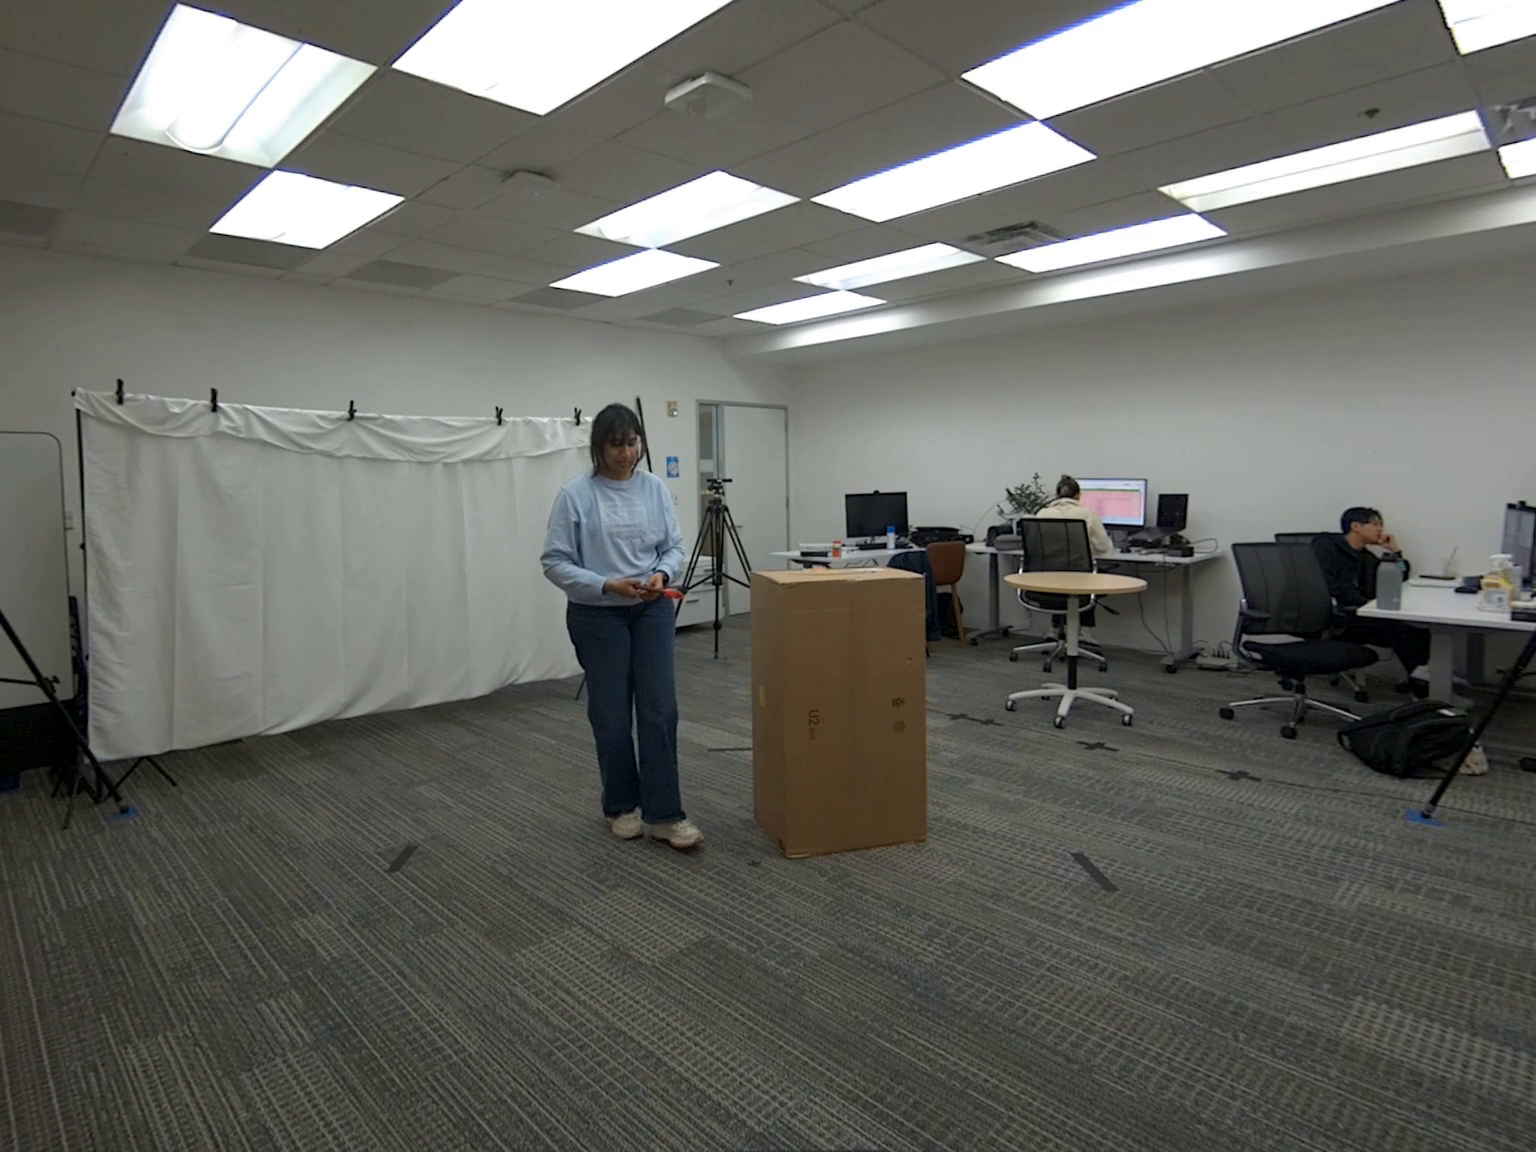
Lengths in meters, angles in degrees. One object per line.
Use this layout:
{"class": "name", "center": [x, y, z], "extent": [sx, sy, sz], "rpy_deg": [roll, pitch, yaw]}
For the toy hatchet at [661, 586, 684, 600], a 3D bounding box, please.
{"class": "toy hatchet", "center": [-0.395, 0.065, 3.141], "extent": [0.127, 0.030, 0.278], "rpy_deg": [13, -4, -38]}
